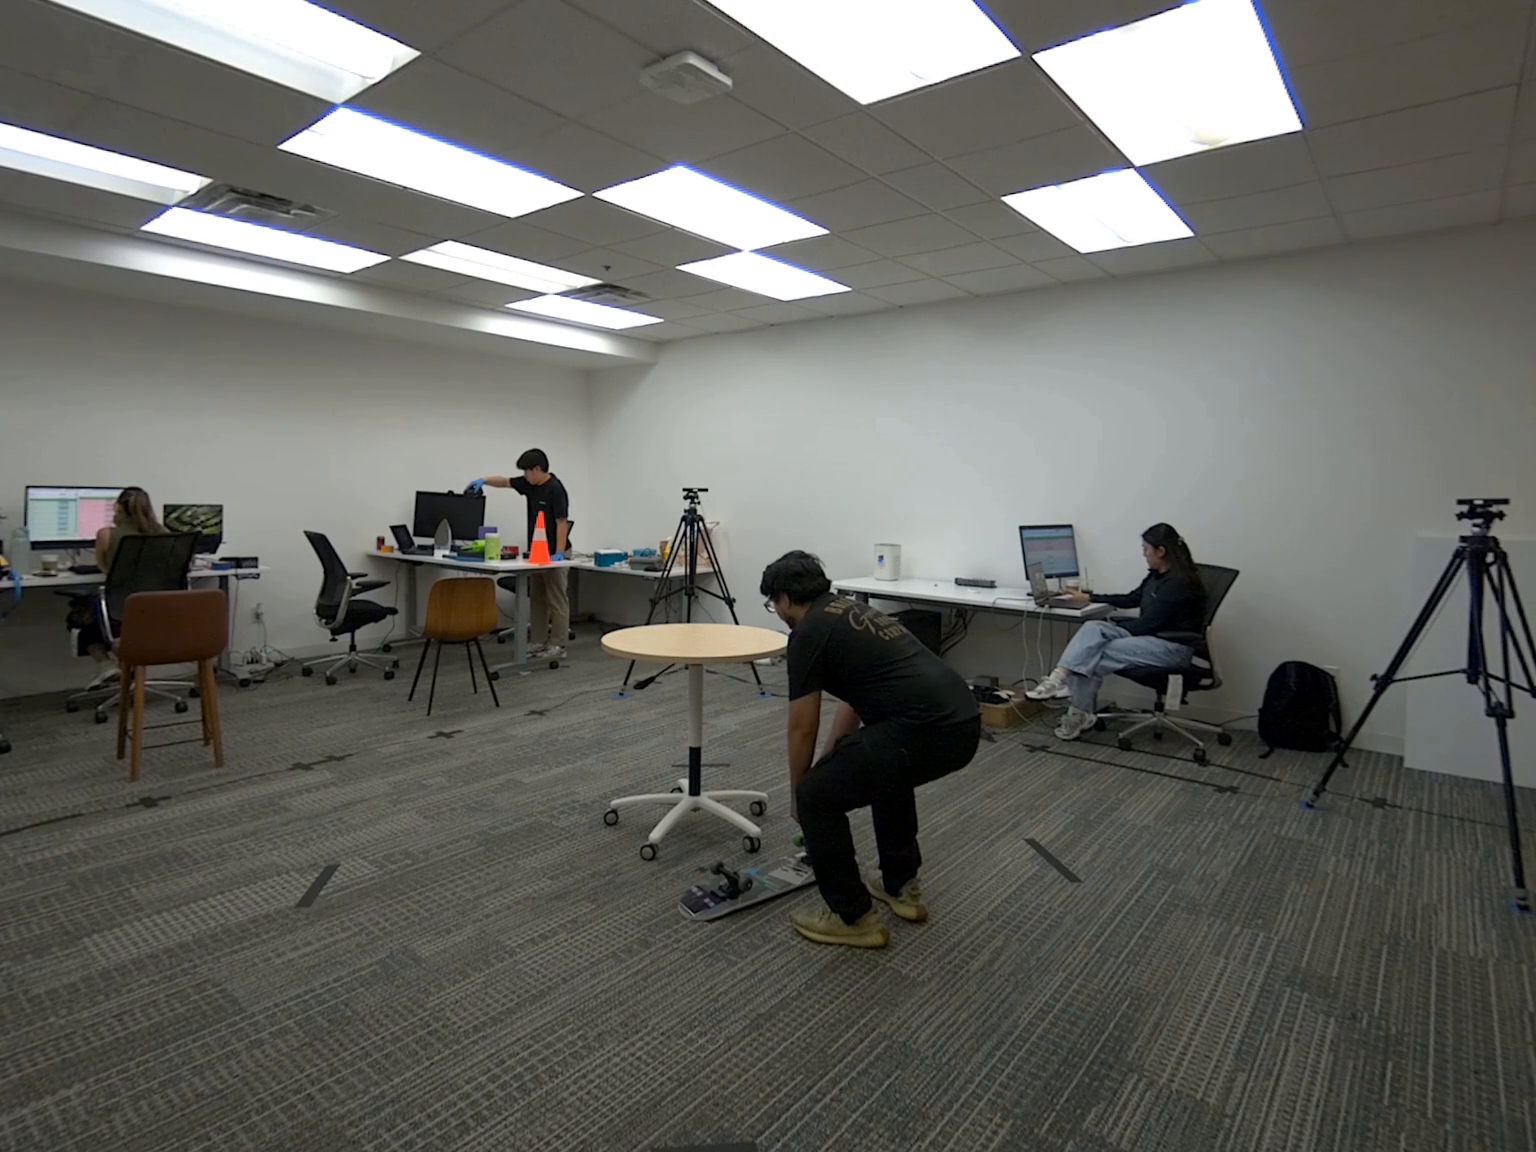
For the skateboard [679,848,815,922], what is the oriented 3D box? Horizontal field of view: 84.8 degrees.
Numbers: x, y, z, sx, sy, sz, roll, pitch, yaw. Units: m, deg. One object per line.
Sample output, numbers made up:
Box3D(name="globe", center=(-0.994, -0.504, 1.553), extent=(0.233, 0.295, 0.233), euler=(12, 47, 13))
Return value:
Box3D(name="skateboard", center=(0.019, 1.034, 3.005), extent=(0.762, 0.110, 0.200), euler=(-3, 8, -40))
